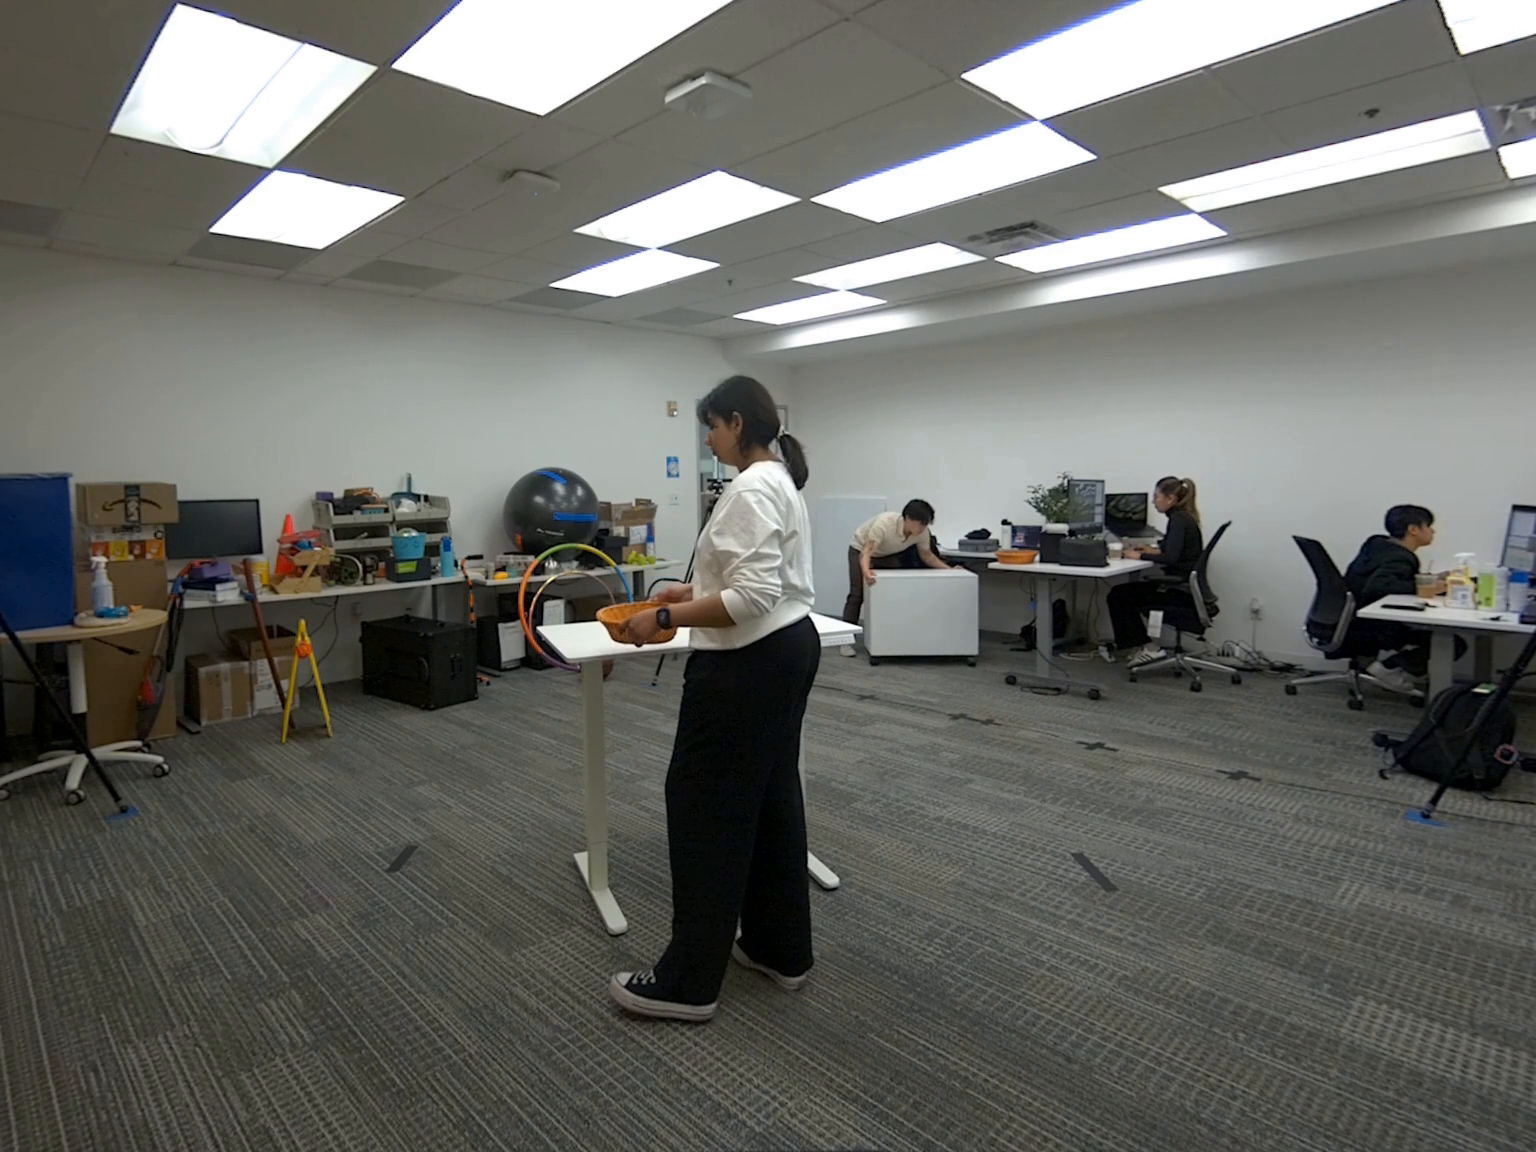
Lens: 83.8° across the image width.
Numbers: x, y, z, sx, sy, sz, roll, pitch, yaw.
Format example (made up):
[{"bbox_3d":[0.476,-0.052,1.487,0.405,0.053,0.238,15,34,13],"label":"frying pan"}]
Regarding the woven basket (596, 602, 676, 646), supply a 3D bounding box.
[{"bbox_3d":[-0.348,0.138,2.445,0.250,0.073,0.355,-2,6,-10],"label":"woven basket"}]
